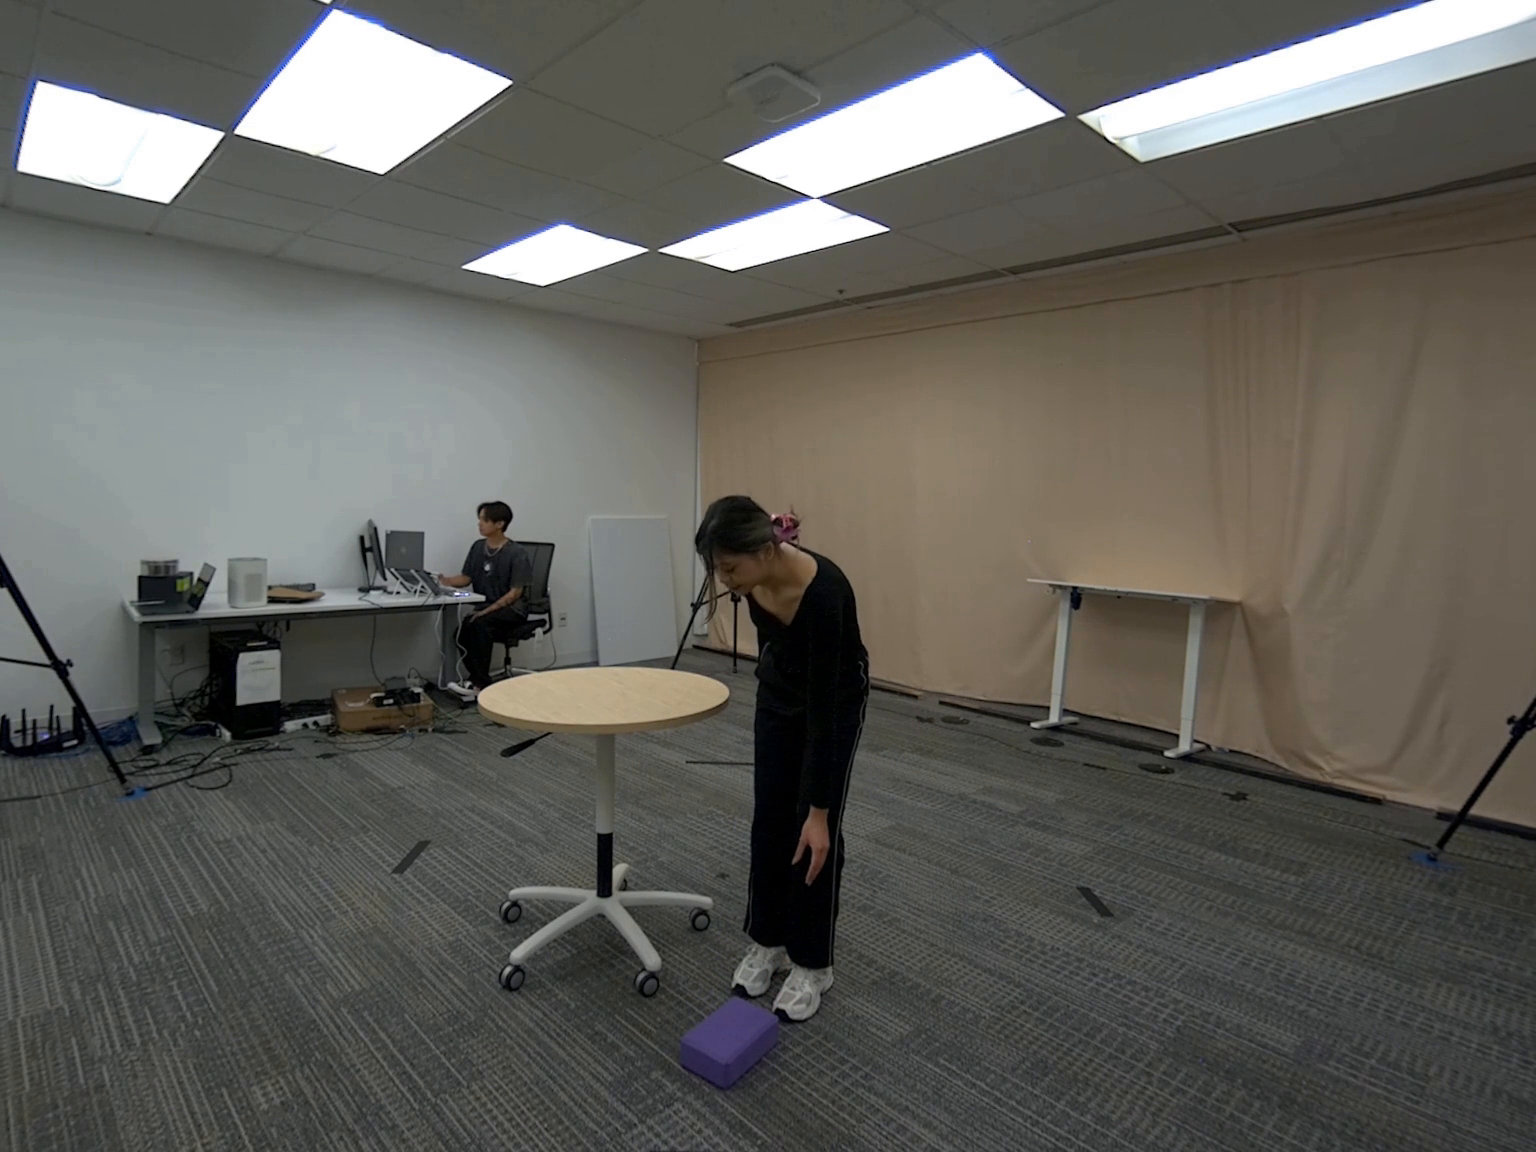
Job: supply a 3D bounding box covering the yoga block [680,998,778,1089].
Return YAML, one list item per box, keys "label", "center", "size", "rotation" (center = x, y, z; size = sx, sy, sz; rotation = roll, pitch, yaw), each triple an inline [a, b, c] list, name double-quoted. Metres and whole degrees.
- label: "yoga block"
  center: [-0.106, 1.165, 2.097]
  size: [0.152, 0.076, 0.224]
  rotation: [5, 7, 36]
